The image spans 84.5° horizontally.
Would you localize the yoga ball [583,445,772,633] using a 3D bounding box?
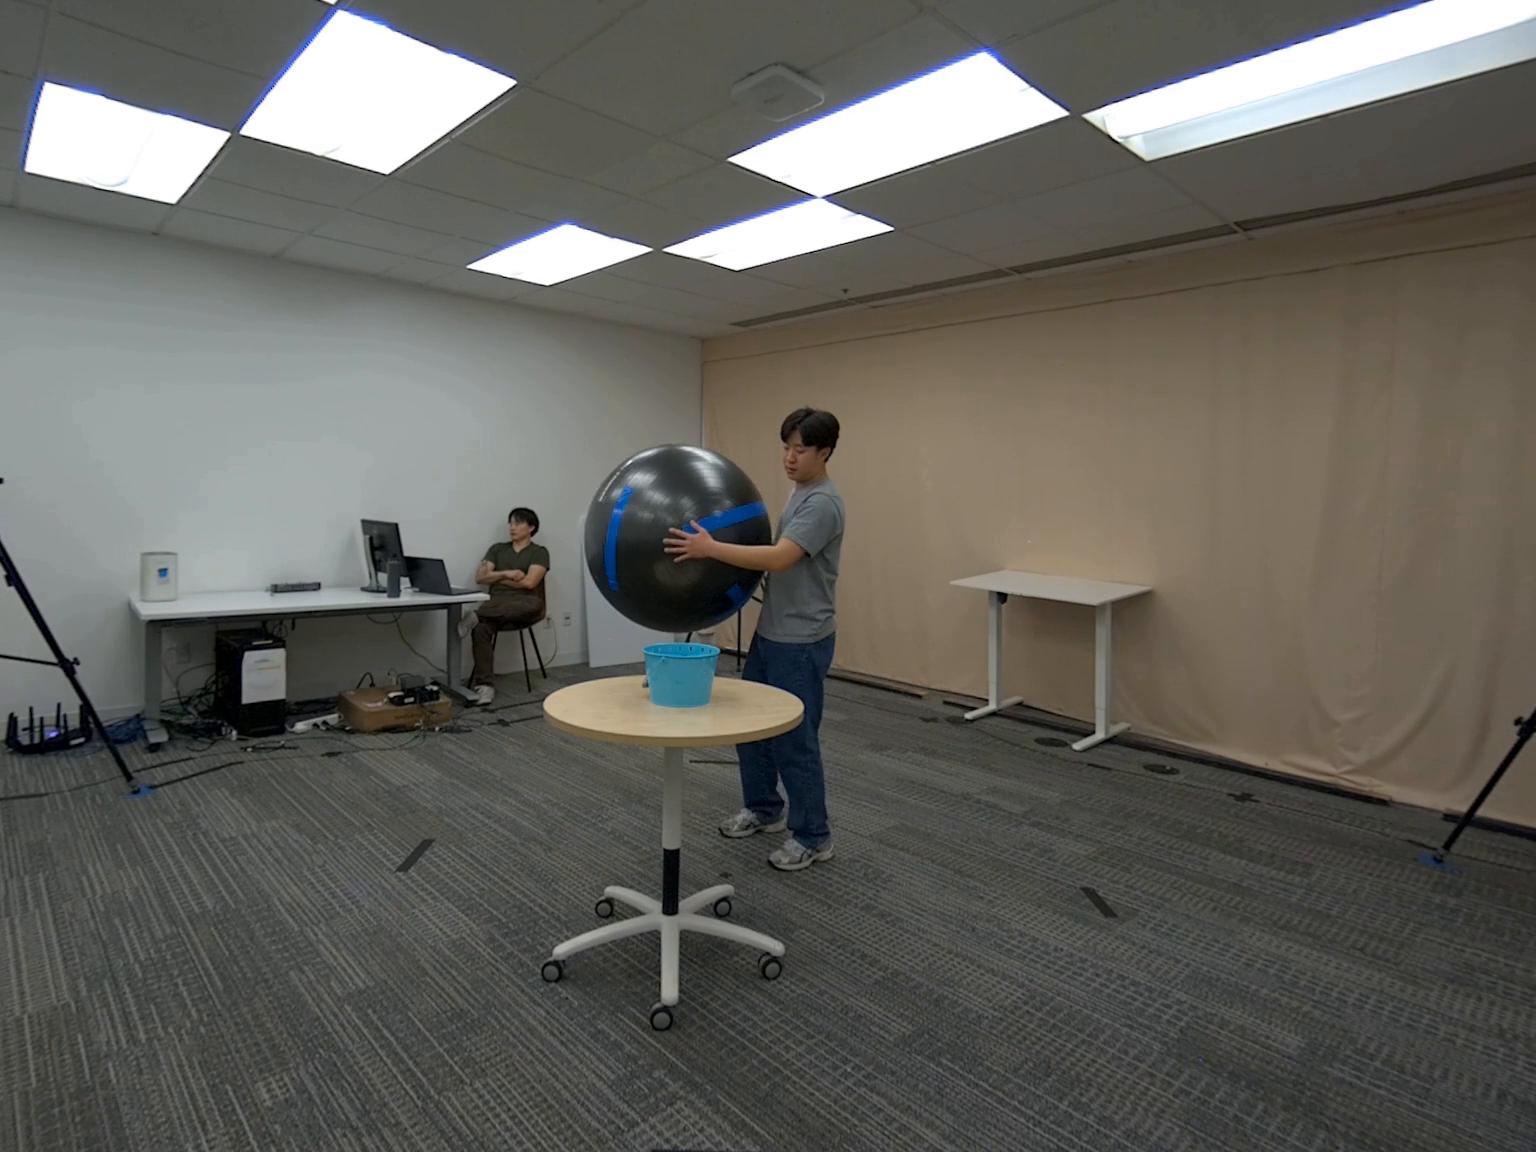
[{"bbox_3d":[-0.370,-0.157,3.417,0.757,0.756,0.761,1,4,-1],"label":"yoga ball"}]
